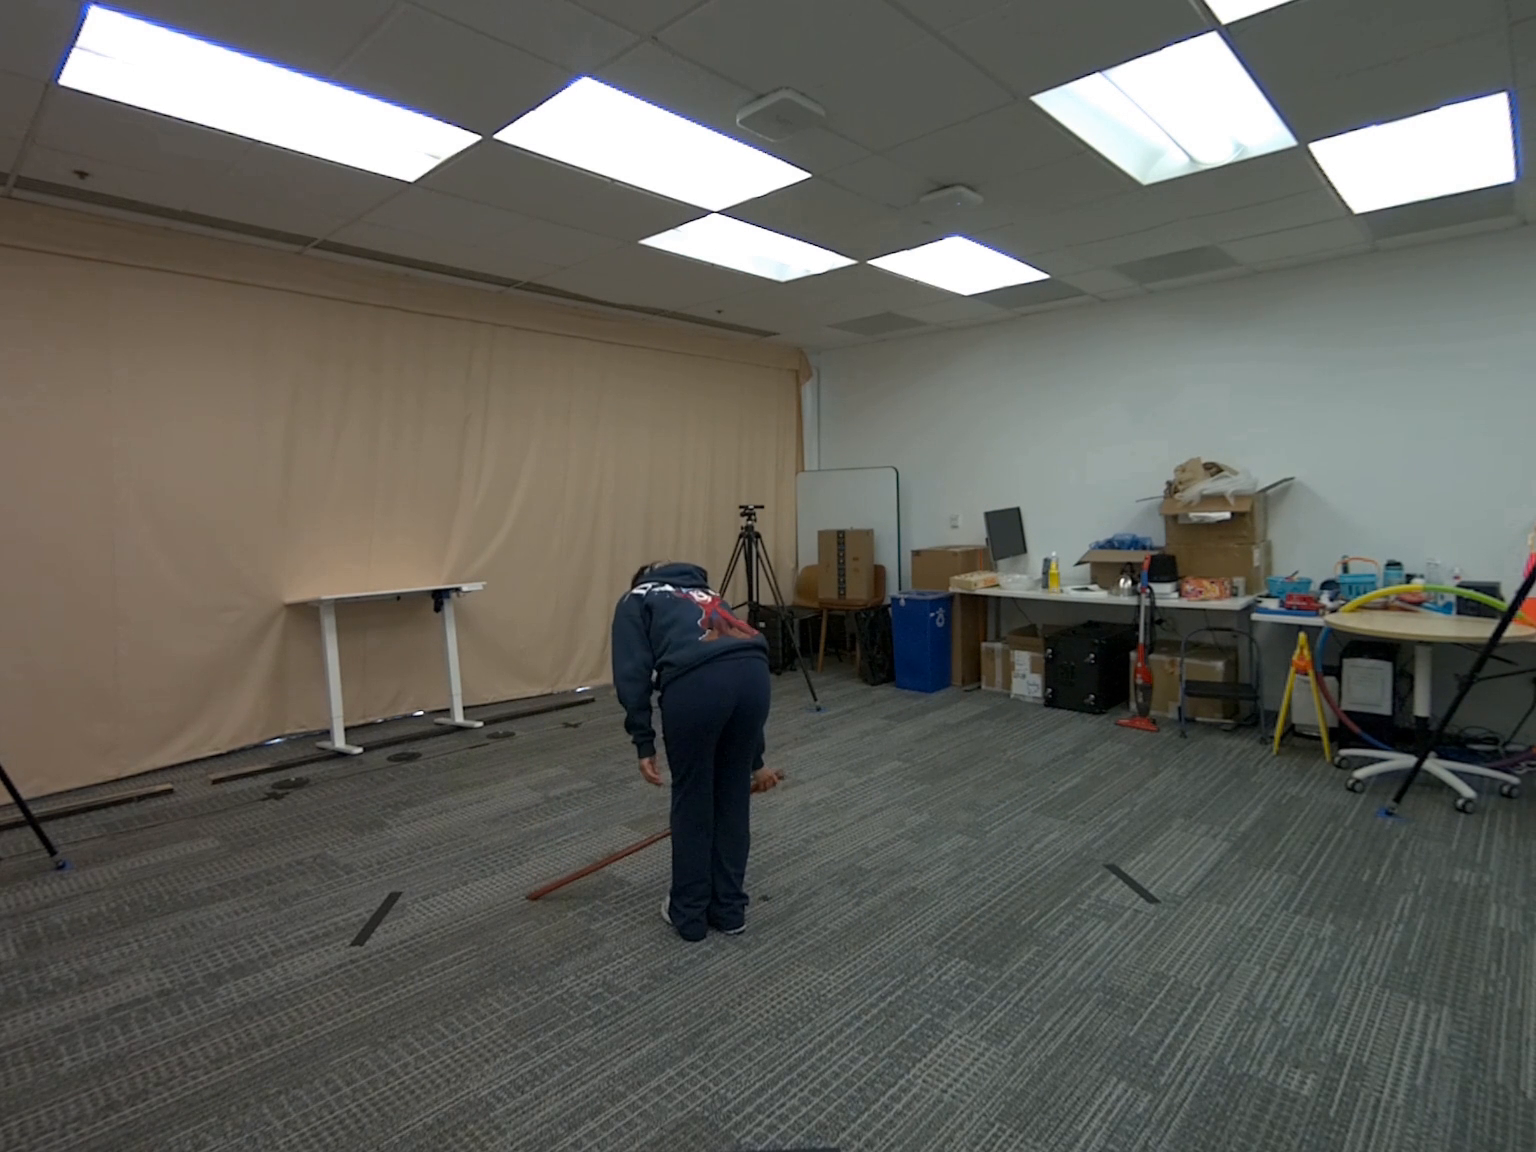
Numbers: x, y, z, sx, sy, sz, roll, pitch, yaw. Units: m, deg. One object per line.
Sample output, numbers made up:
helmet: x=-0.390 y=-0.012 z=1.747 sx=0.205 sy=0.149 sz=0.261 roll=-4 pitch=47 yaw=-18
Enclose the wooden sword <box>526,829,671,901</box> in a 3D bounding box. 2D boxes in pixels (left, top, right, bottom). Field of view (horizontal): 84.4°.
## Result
wooden sword: x=-0.404 y=0.946 z=3.051 sx=1.021 sy=0.025 sz=0.050 roll=-25 pitch=-37 yaw=-4
